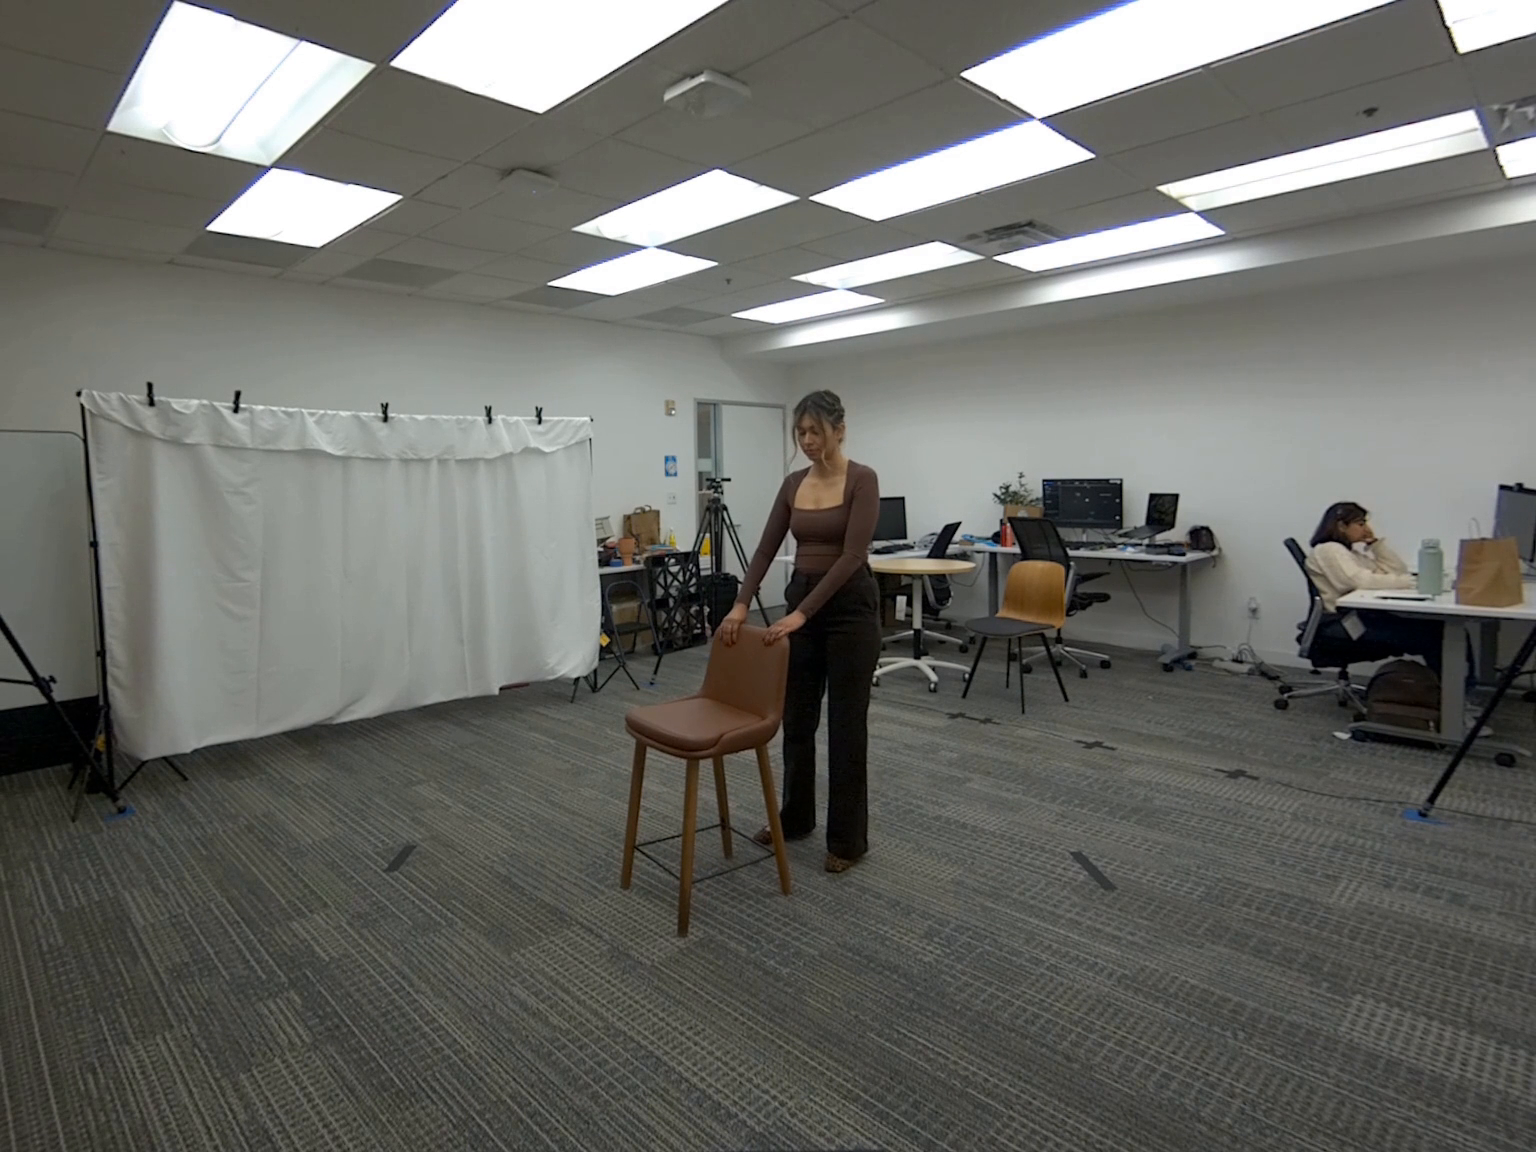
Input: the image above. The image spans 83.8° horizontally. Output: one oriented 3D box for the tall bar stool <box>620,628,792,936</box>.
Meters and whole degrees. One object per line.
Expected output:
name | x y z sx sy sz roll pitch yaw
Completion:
tall bar stool | -0.201 0.633 2.876 0.455 0.887 0.470 -1 4 -36
